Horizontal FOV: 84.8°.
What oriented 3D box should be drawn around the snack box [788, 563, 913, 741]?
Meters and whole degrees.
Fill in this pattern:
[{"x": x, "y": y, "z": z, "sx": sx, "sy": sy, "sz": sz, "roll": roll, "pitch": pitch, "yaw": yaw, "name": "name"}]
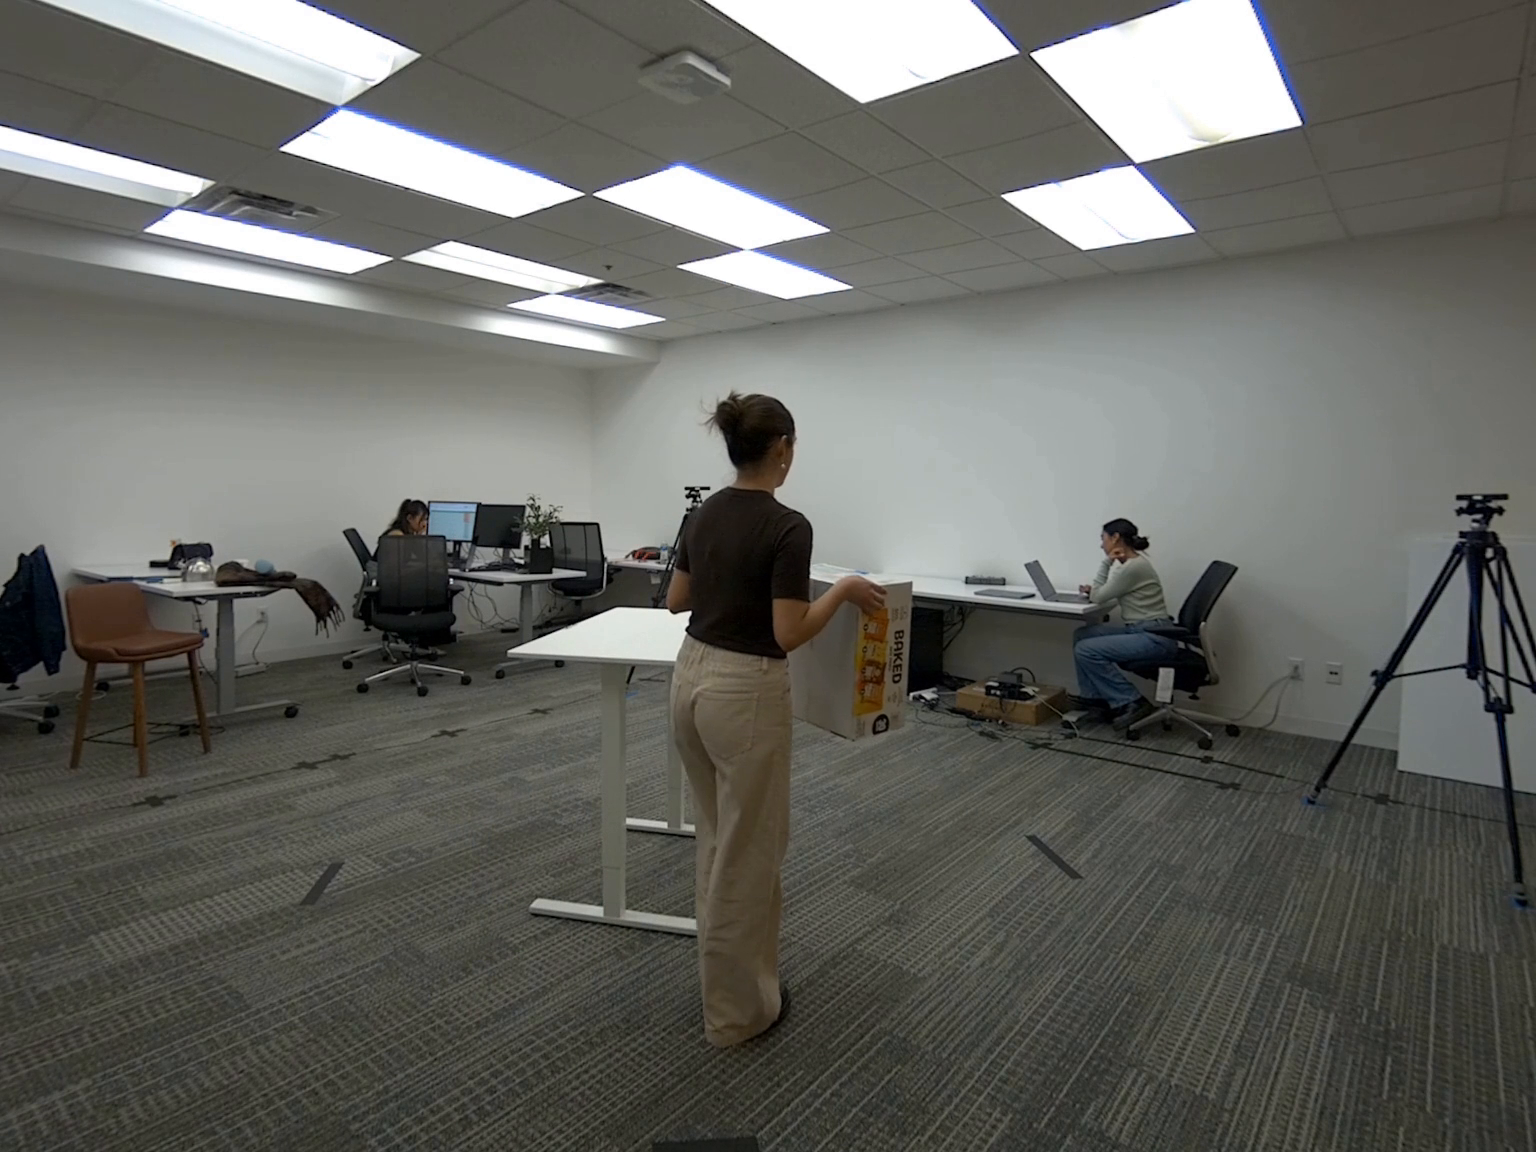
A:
[{"x": 0.190, "y": 0.197, "z": 2.365, "sx": 0.200, "sy": 0.402, "sz": 0.353, "roll": -5, "pitch": 11, "yaw": -39, "name": "snack box"}]
